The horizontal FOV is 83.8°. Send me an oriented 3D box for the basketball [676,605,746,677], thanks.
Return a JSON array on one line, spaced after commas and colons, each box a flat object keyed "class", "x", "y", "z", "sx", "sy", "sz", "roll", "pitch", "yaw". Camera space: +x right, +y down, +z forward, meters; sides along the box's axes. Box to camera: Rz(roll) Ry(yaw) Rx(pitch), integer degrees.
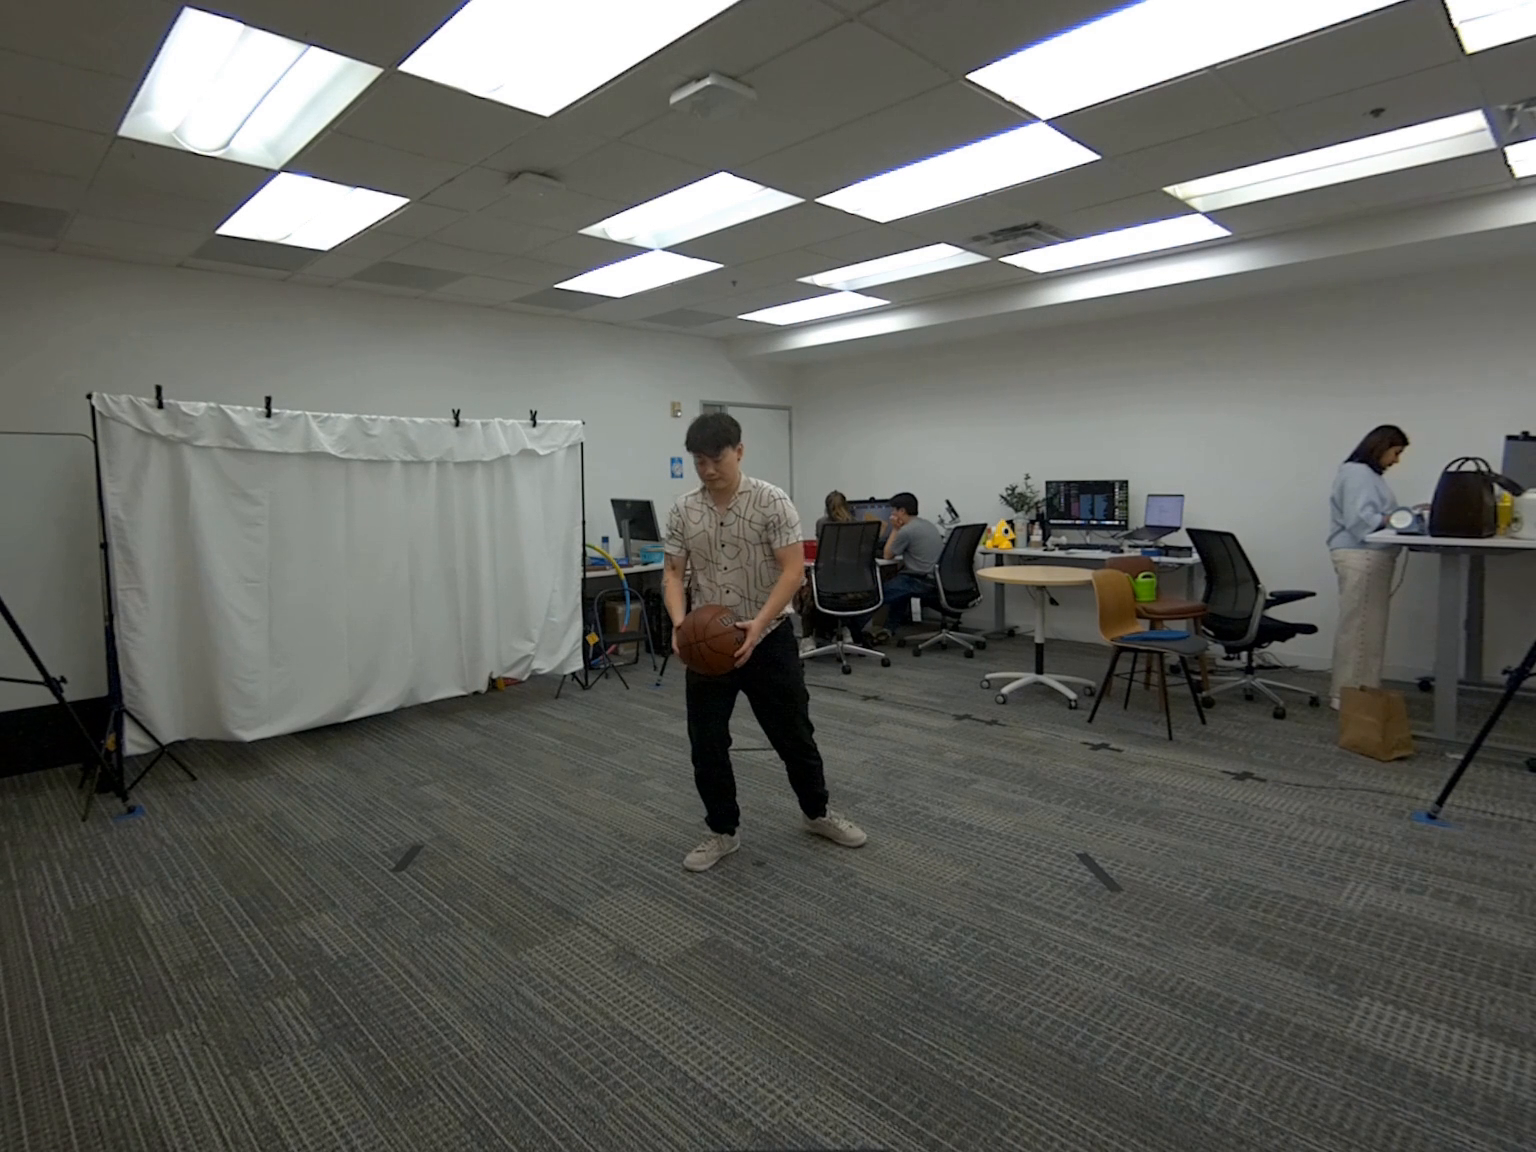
[{"class": "basketball", "x": -0.191, "y": 0.188, "z": 2.864, "sx": 0.236, "sy": 0.235, "sz": 0.237, "roll": -1, "pitch": 5, "yaw": -2}]
